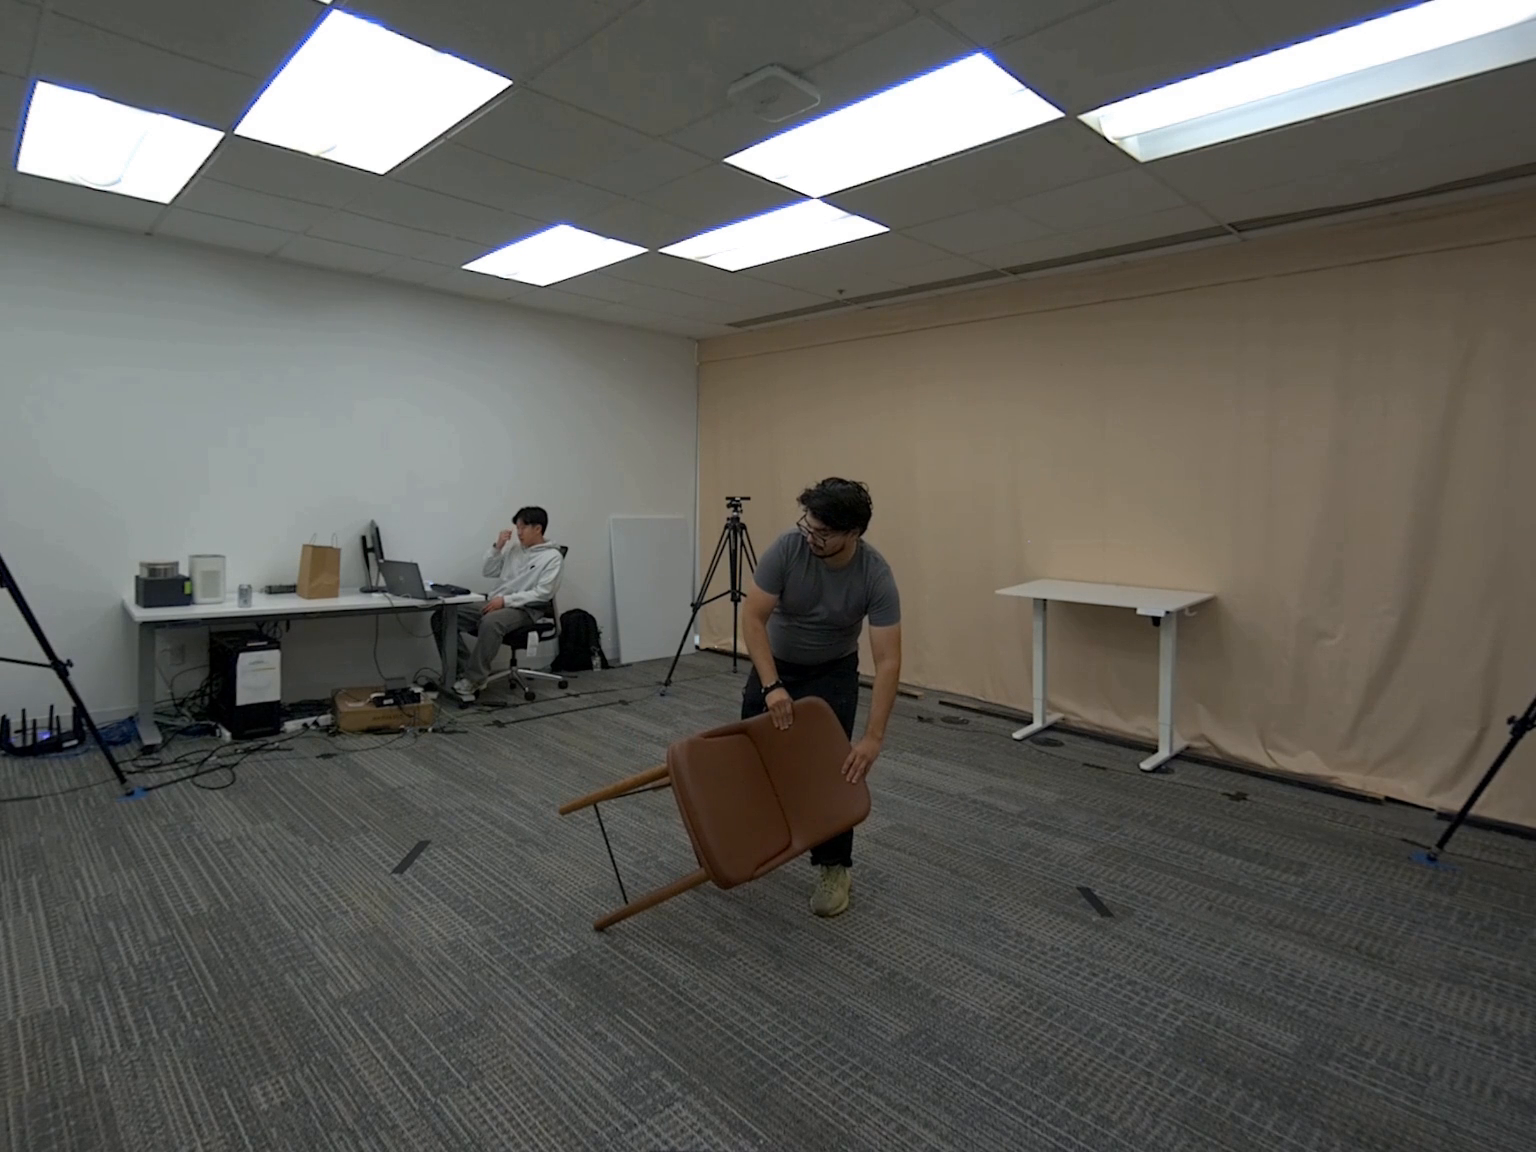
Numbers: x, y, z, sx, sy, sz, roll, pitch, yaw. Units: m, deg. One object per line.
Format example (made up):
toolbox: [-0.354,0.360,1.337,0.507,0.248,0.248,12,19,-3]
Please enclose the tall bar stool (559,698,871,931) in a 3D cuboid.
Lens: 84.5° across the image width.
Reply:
tall bar stool: [-0.181,0.753,2.676,0.896,0.464,0.456,-33,-20,33]
